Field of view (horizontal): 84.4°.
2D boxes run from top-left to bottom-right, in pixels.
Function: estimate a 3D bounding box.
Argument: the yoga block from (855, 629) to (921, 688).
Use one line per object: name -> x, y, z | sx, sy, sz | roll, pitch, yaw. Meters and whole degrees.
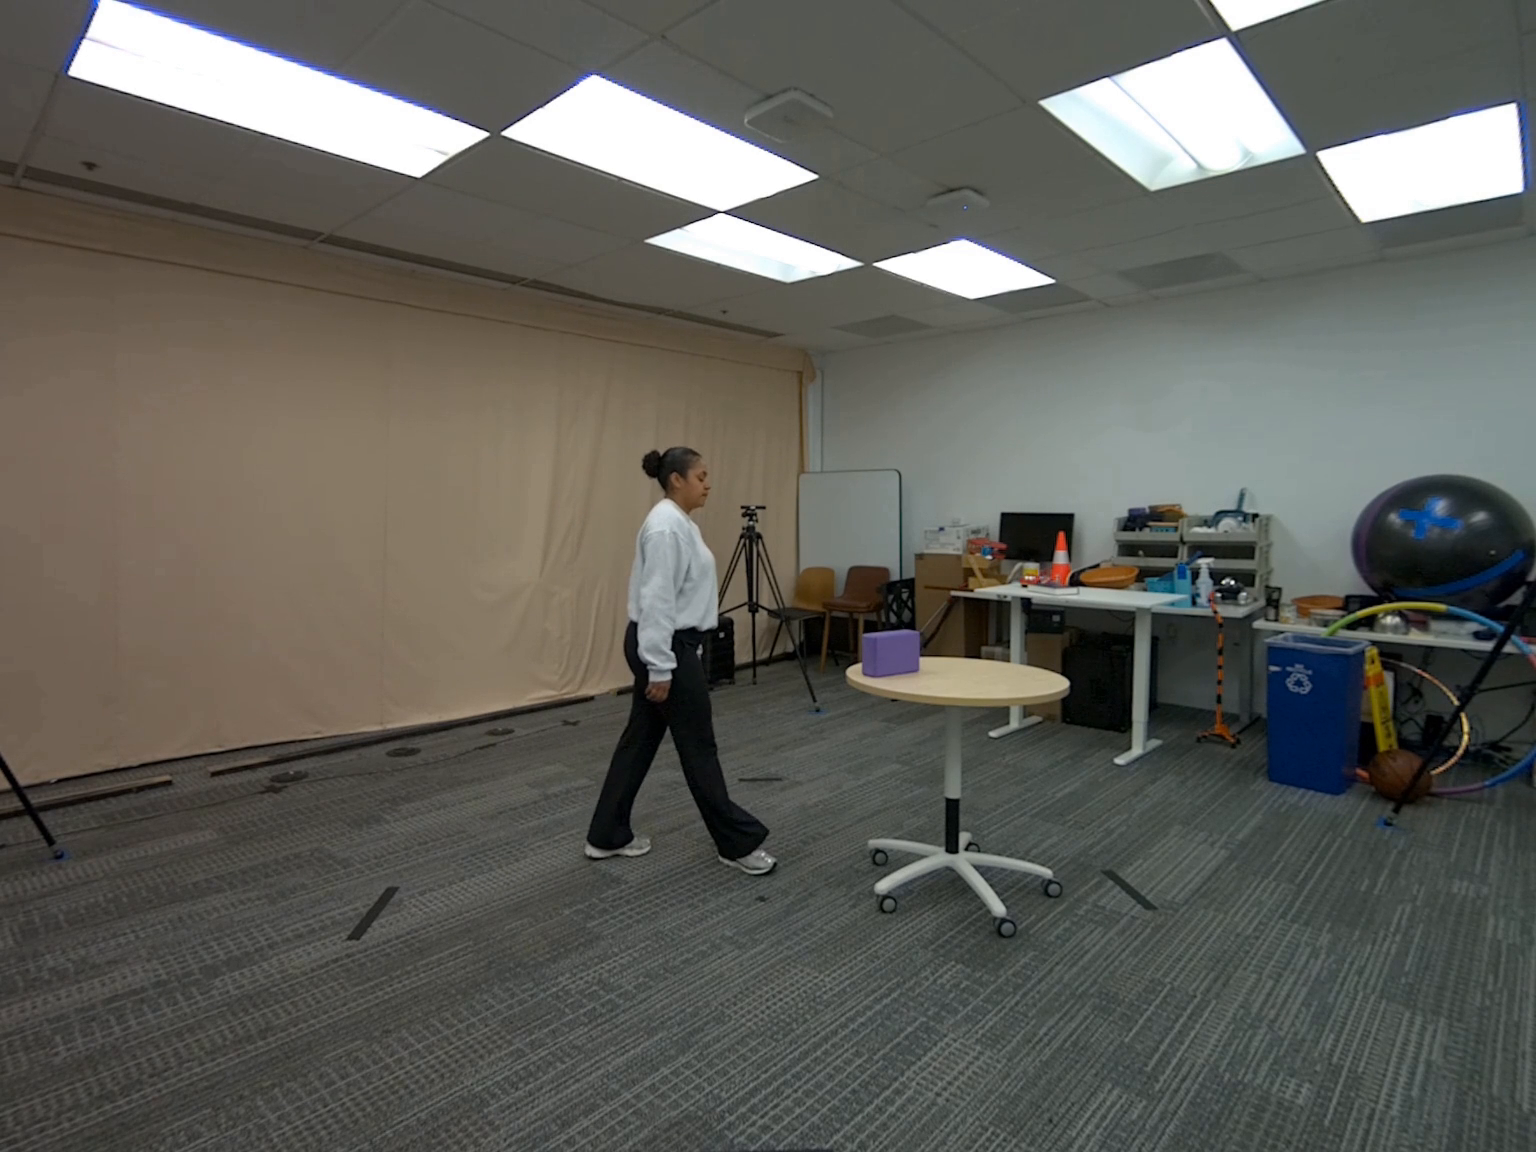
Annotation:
yoga block -> 0.453, 0.279, 3.047 | 0.223, 0.149, 0.079 | -3, 3, -35
